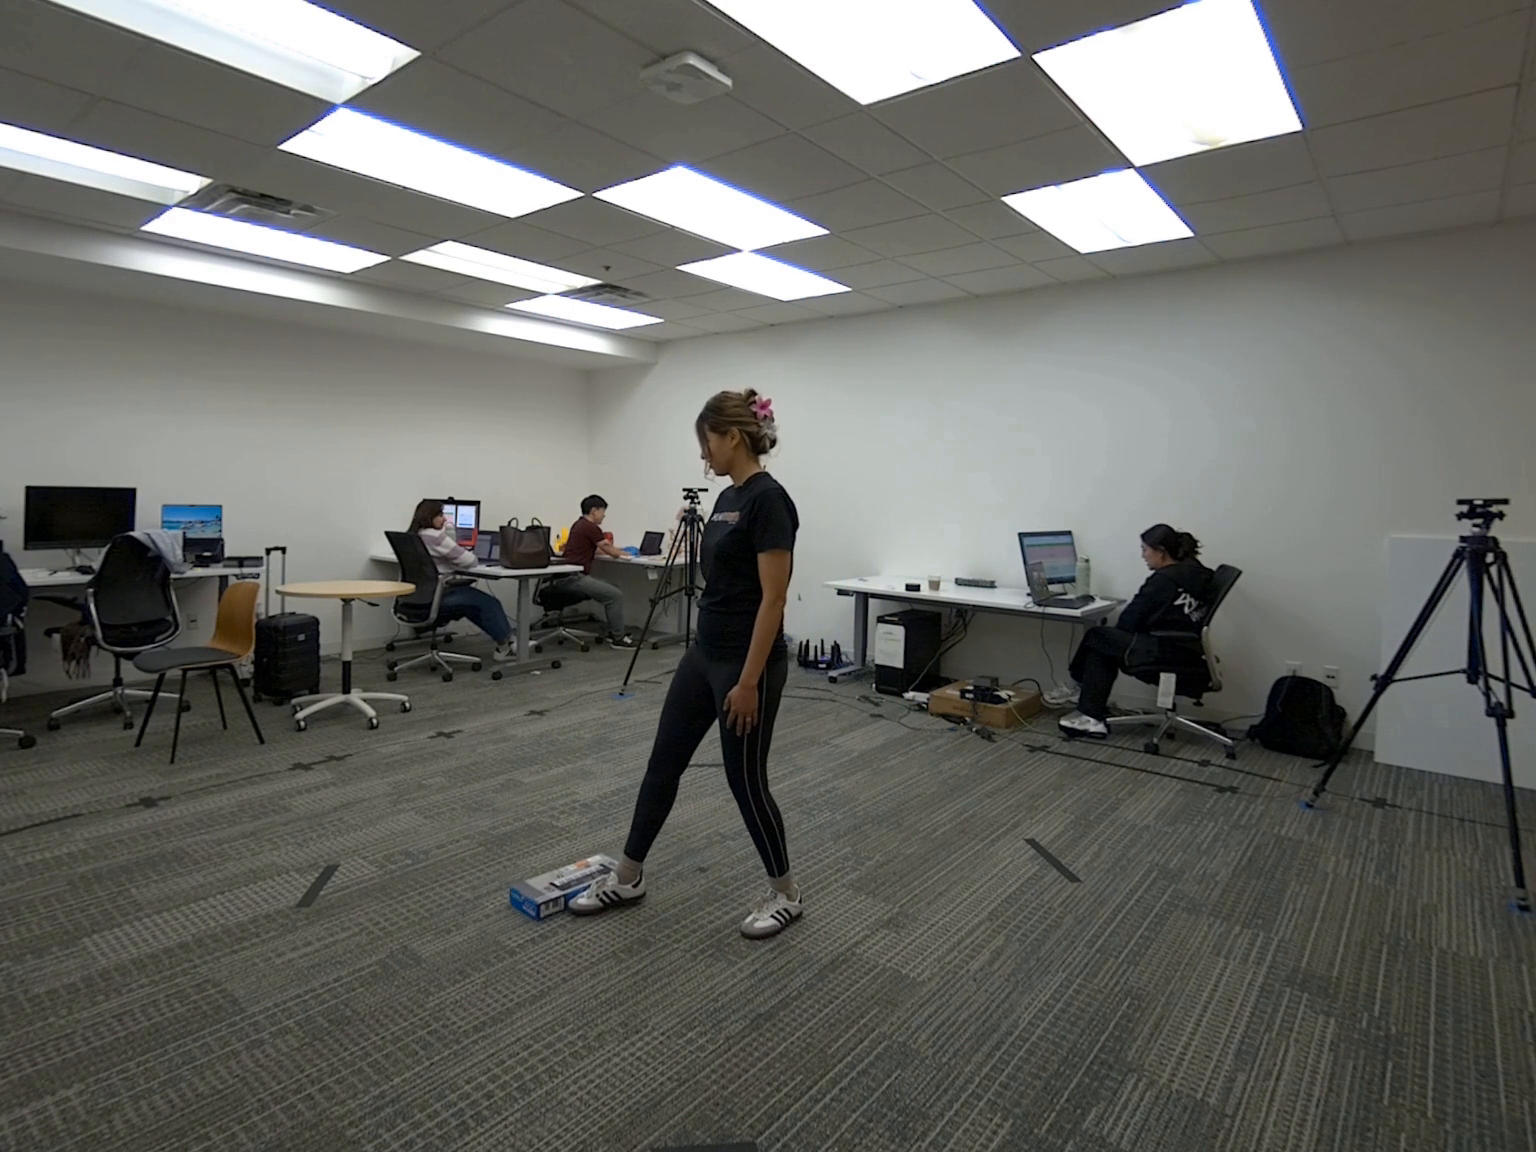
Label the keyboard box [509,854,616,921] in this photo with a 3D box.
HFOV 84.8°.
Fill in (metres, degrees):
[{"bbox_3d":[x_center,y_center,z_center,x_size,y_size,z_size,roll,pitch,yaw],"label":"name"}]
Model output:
[{"bbox_3d":[-0.662,1.051,2.919,0.182,0.059,0.424,5,7,44],"label":"keyboard box"}]
